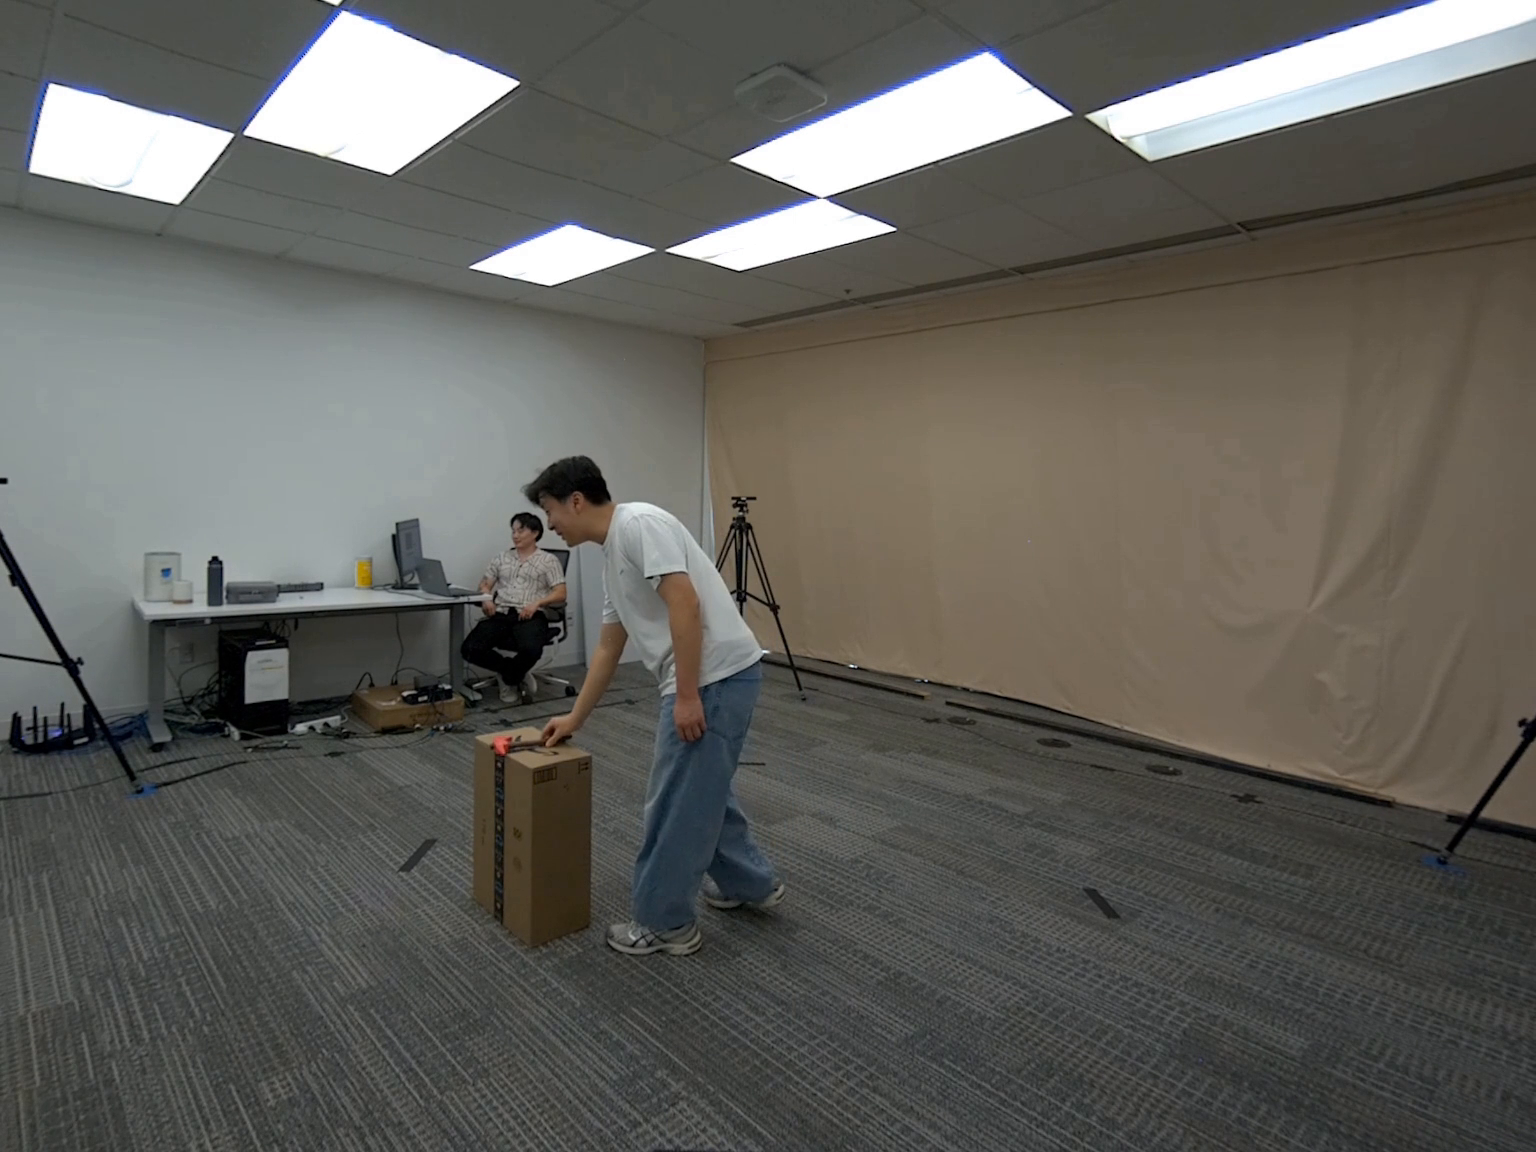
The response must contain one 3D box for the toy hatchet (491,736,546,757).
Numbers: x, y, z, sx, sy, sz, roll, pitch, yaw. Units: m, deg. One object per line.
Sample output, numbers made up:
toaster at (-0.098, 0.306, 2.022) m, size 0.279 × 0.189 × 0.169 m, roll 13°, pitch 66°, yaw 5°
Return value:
toy hatchet at (-0.787, 0.538, 2.780) m, size 0.135 × 0.029 × 0.264 m, roll 12°, pitch 10°, yaw 42°
